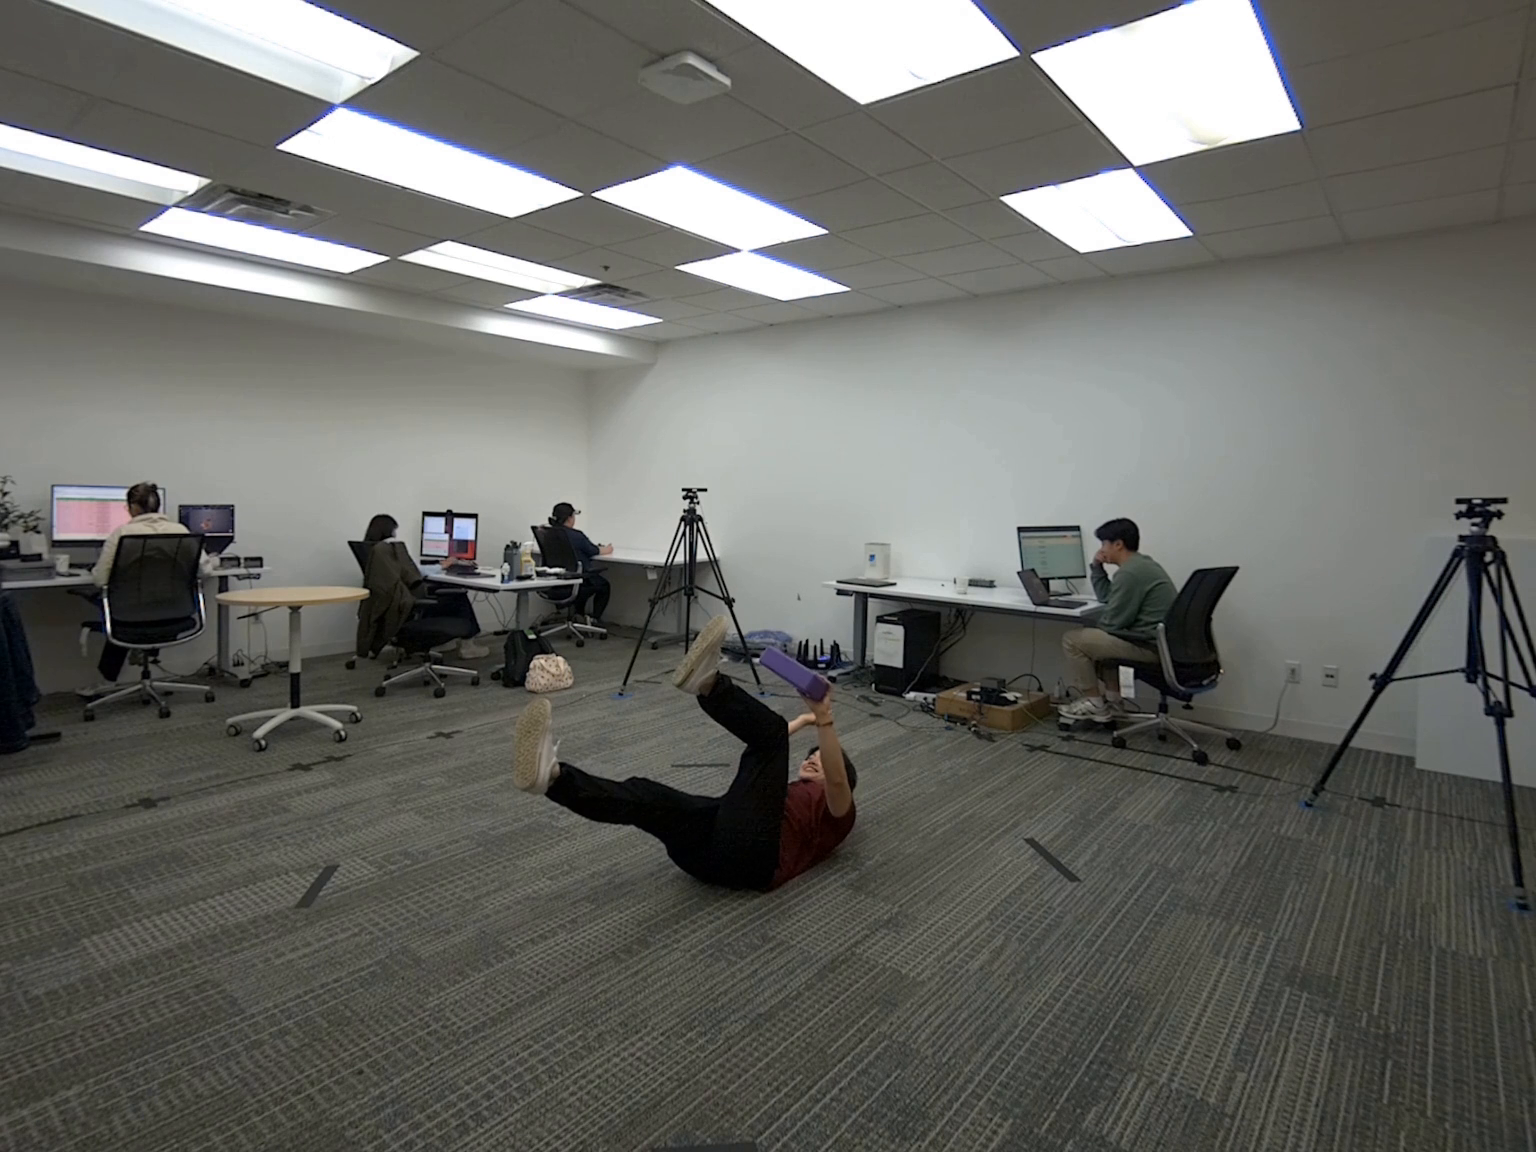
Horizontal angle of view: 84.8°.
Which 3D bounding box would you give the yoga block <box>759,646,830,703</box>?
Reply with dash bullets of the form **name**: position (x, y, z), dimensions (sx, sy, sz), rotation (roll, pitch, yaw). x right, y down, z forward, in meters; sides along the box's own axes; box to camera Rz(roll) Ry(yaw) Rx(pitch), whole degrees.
- **yoga block**: position (0.087, 0.352, 3.089), dimensions (0.238, 0.076, 0.143), rotation (29, -7, 32)
